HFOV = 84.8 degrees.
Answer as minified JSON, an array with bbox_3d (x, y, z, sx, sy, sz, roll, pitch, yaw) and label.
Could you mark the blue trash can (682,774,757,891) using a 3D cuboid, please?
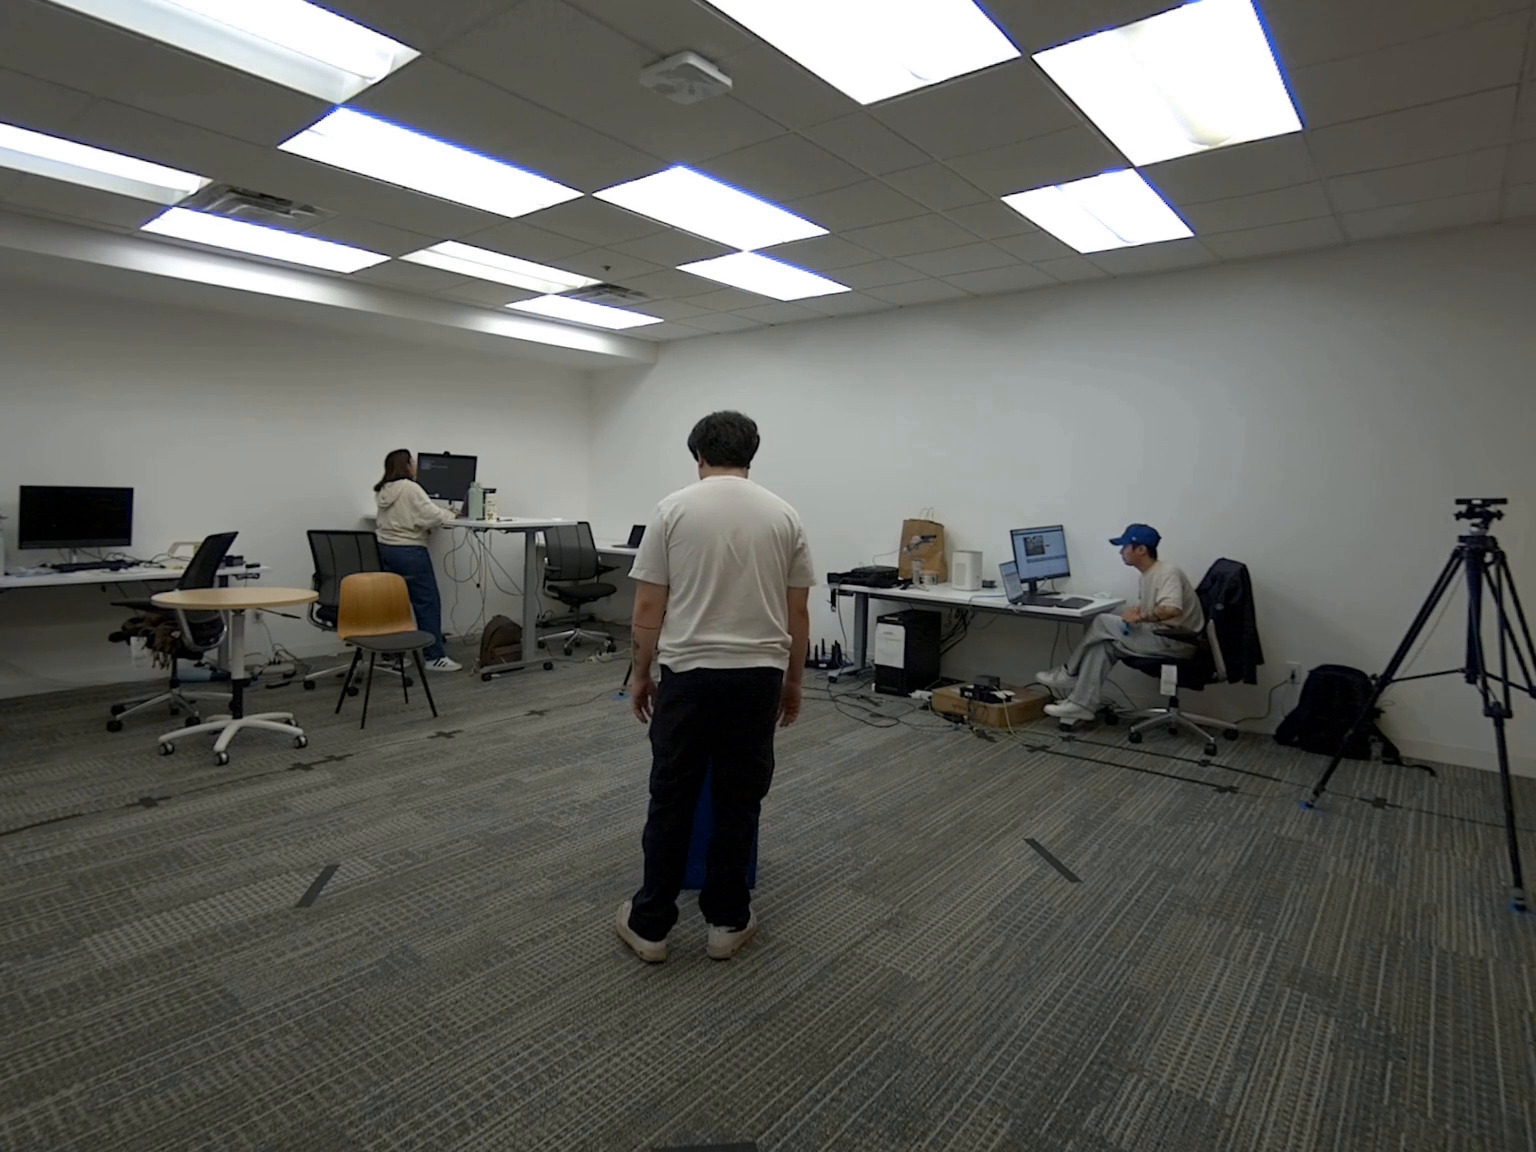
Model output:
[{"bbox_3d":[-0.212,0.712,3.084,0.376,0.711,0.377,1,3,-5],"label":"blue trash can"}]
